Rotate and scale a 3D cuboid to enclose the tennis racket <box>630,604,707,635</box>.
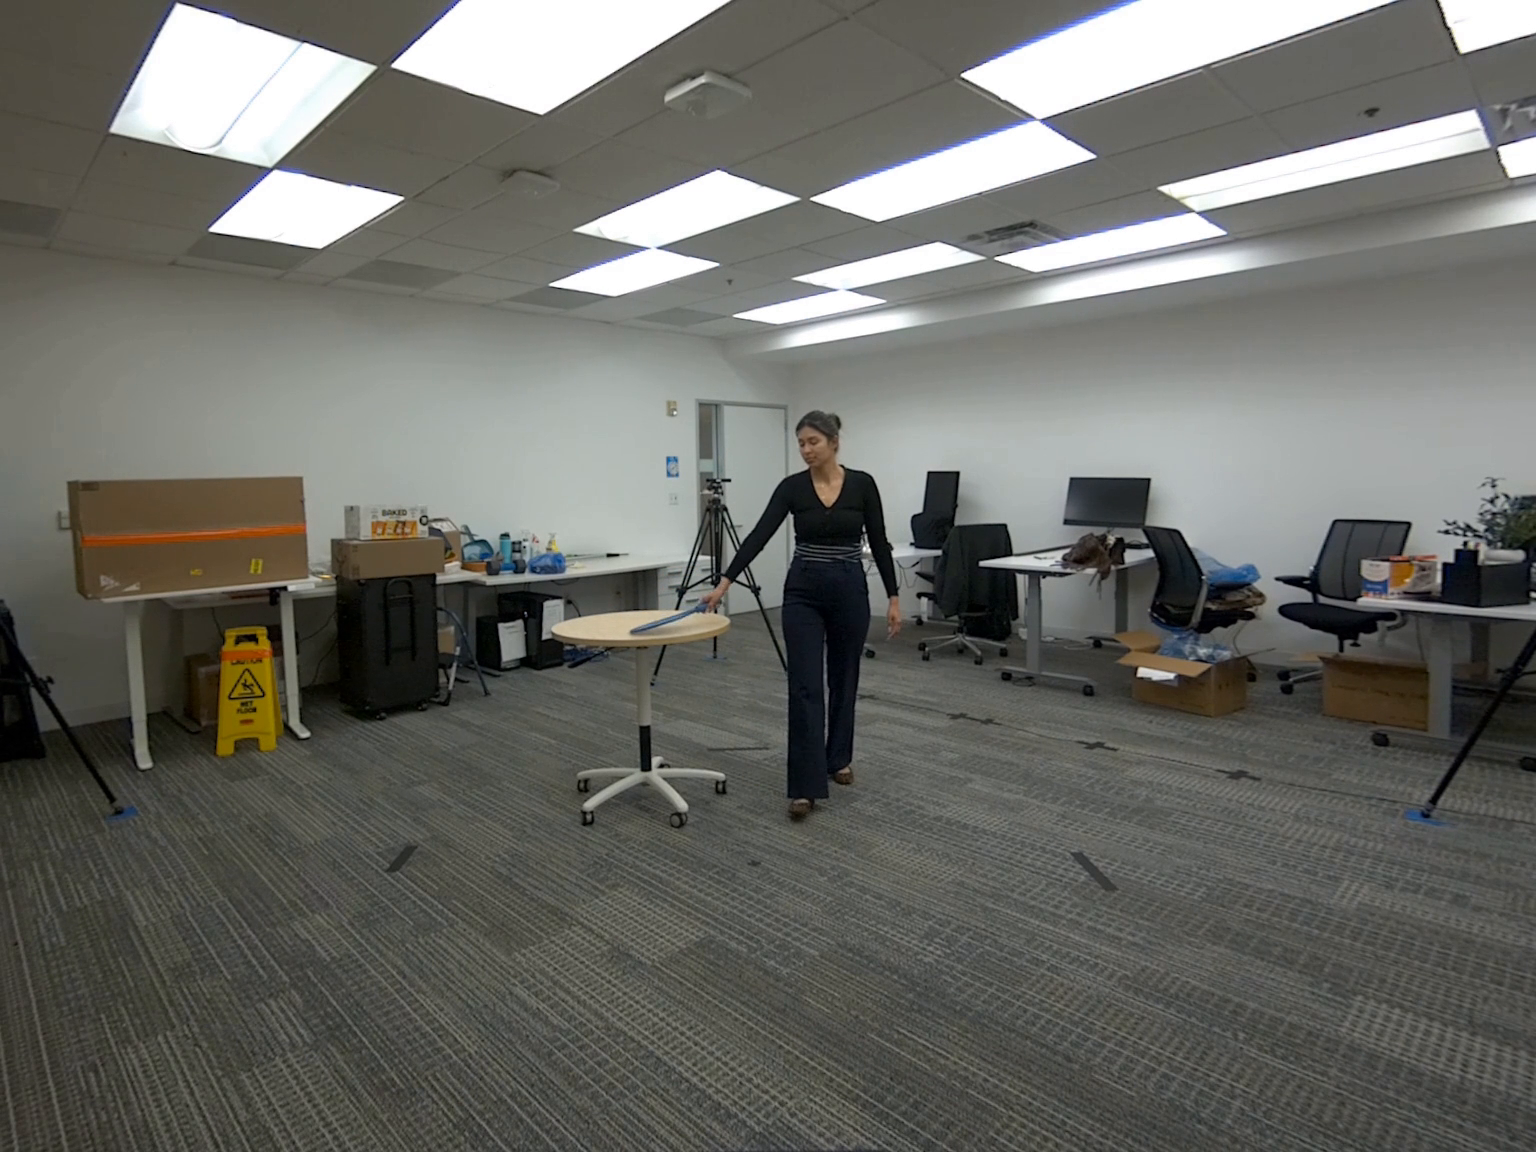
[{"bbox_3d":[-0.383,0.165,3.519,0.425,0.032,0.218,-18,3,-33],"label":"tennis racket"}]
